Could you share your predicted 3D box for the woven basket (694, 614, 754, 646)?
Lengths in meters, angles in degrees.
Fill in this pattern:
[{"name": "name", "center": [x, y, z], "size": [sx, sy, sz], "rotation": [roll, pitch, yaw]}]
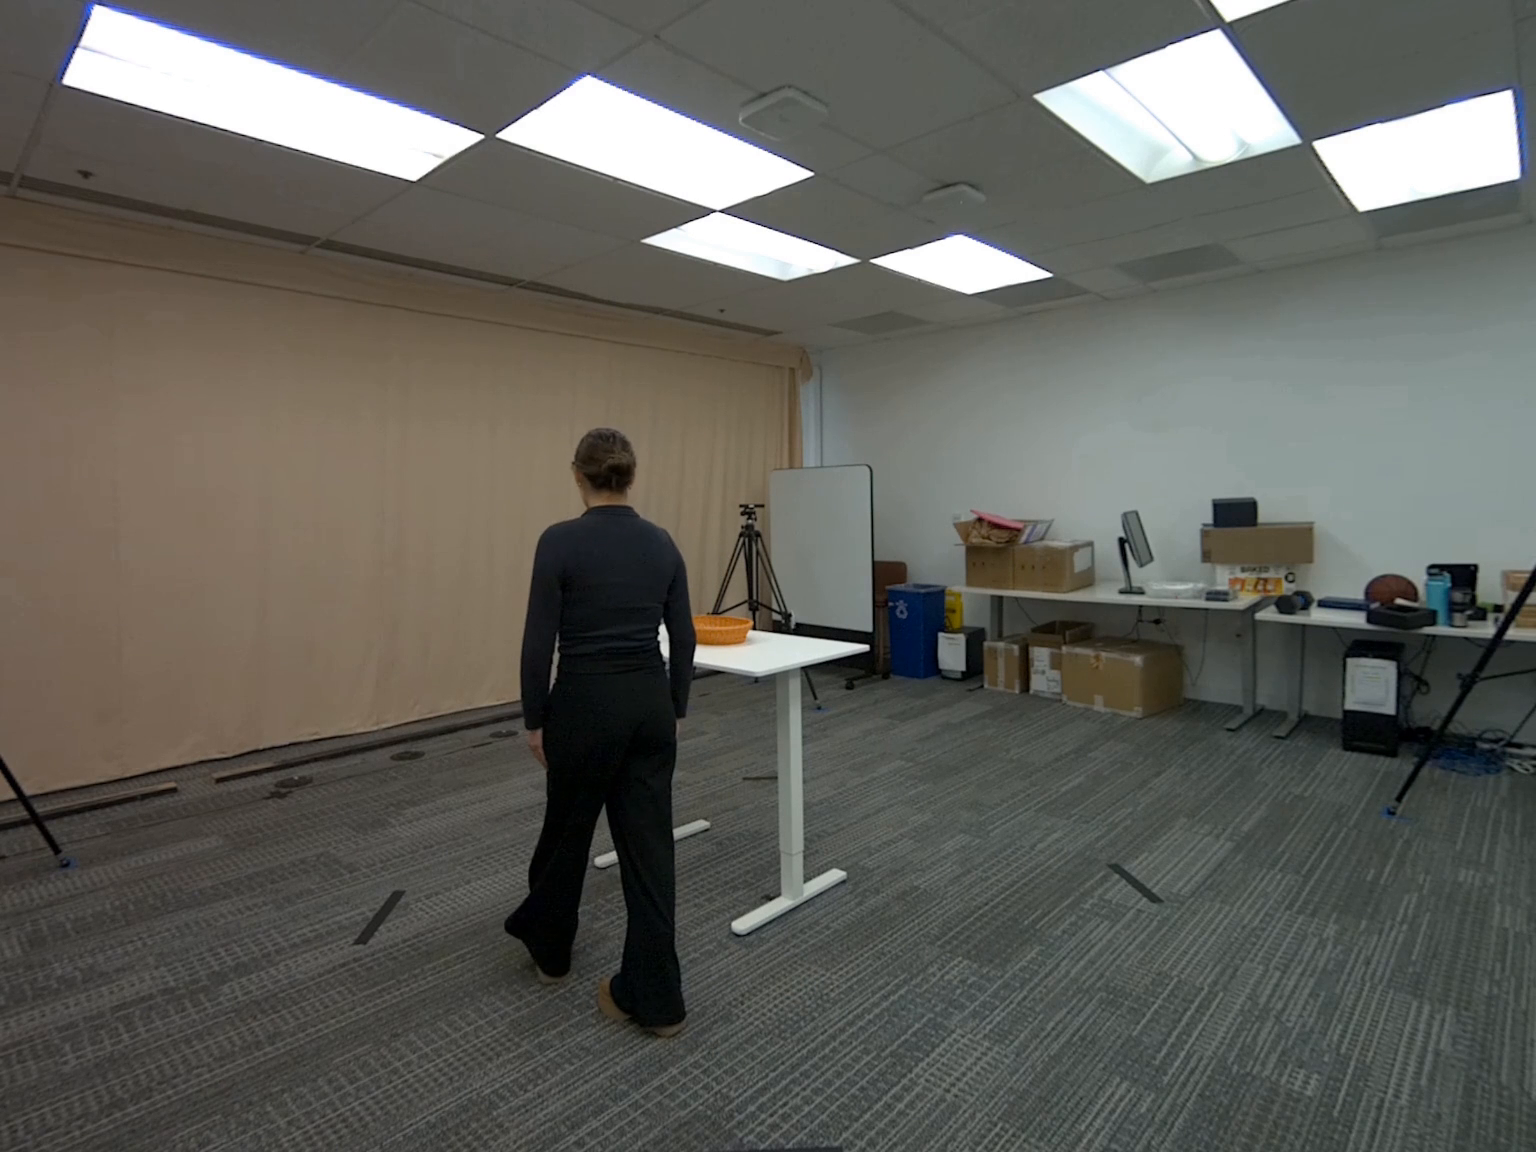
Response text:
[{"name": "woven basket", "center": [-0.222, 0.216, 3.194], "size": [0.362, 0.073, 0.245], "rotation": [4, 8, 44]}]
